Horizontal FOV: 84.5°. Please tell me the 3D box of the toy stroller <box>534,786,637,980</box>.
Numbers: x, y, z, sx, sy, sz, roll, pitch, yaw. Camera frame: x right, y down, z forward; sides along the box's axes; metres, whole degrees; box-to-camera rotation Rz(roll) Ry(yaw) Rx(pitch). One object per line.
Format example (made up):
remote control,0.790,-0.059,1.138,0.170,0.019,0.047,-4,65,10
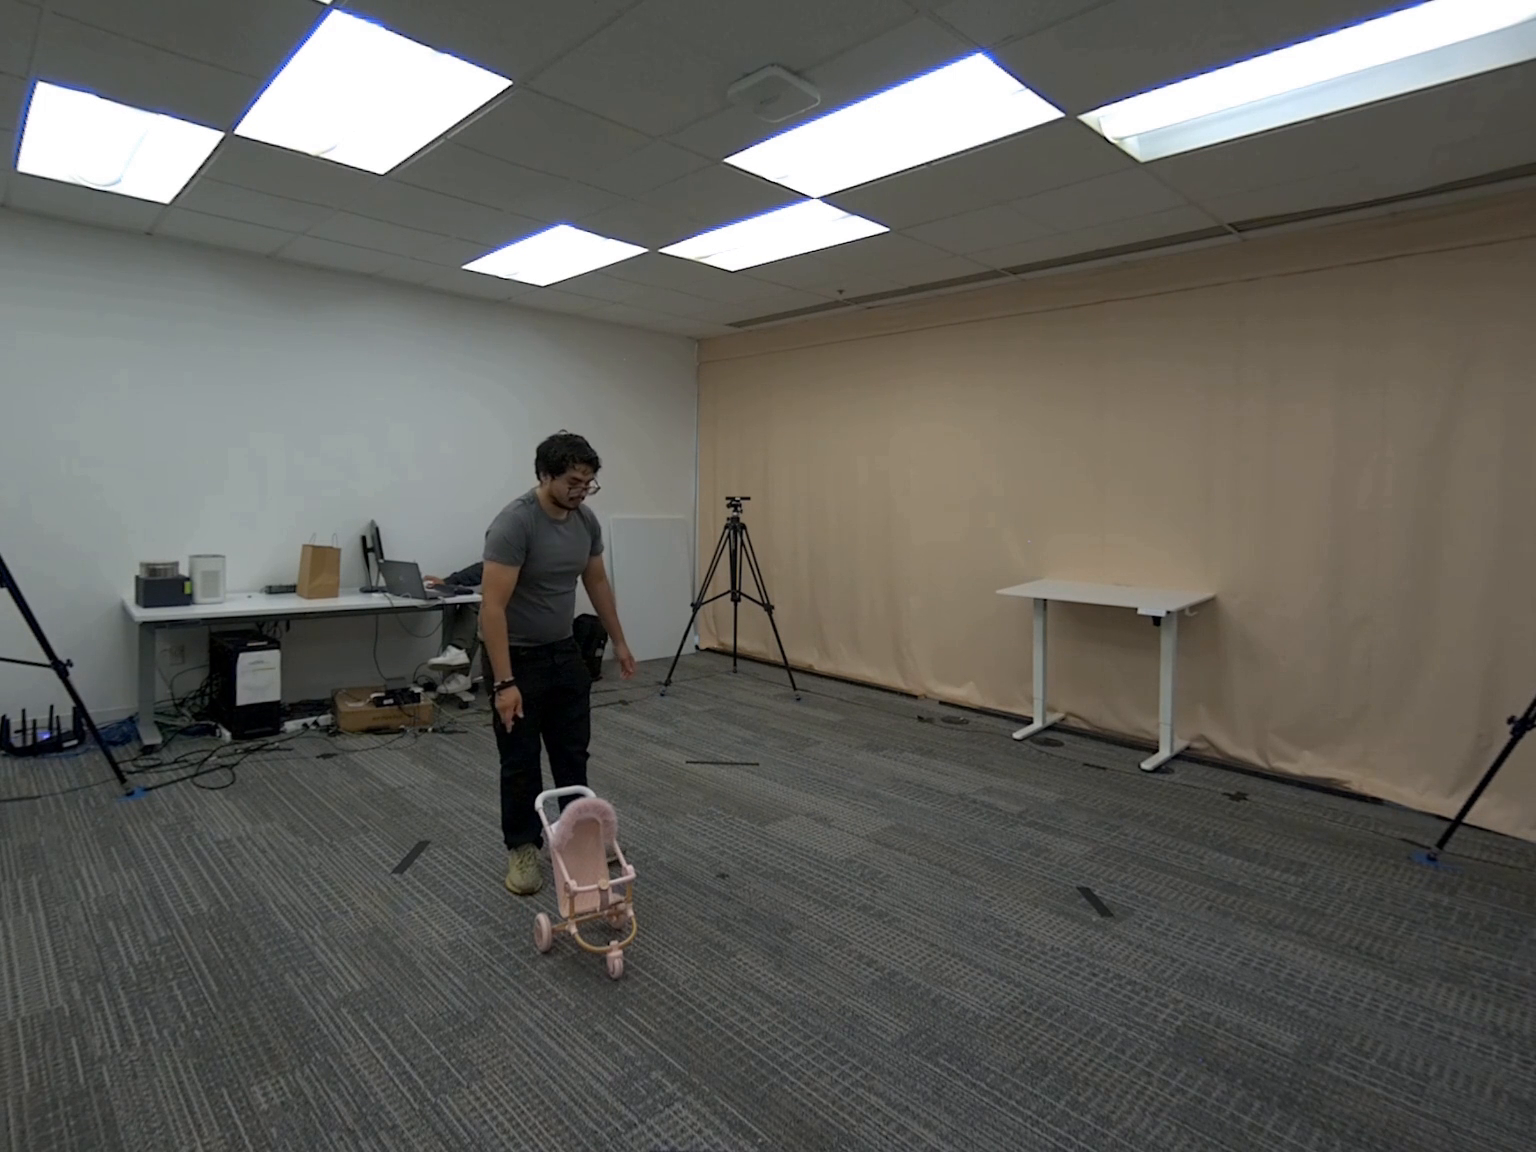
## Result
toy stroller,-0.556,0.923,2.577,0.275,0.540,0.345,-1,-12,-32
